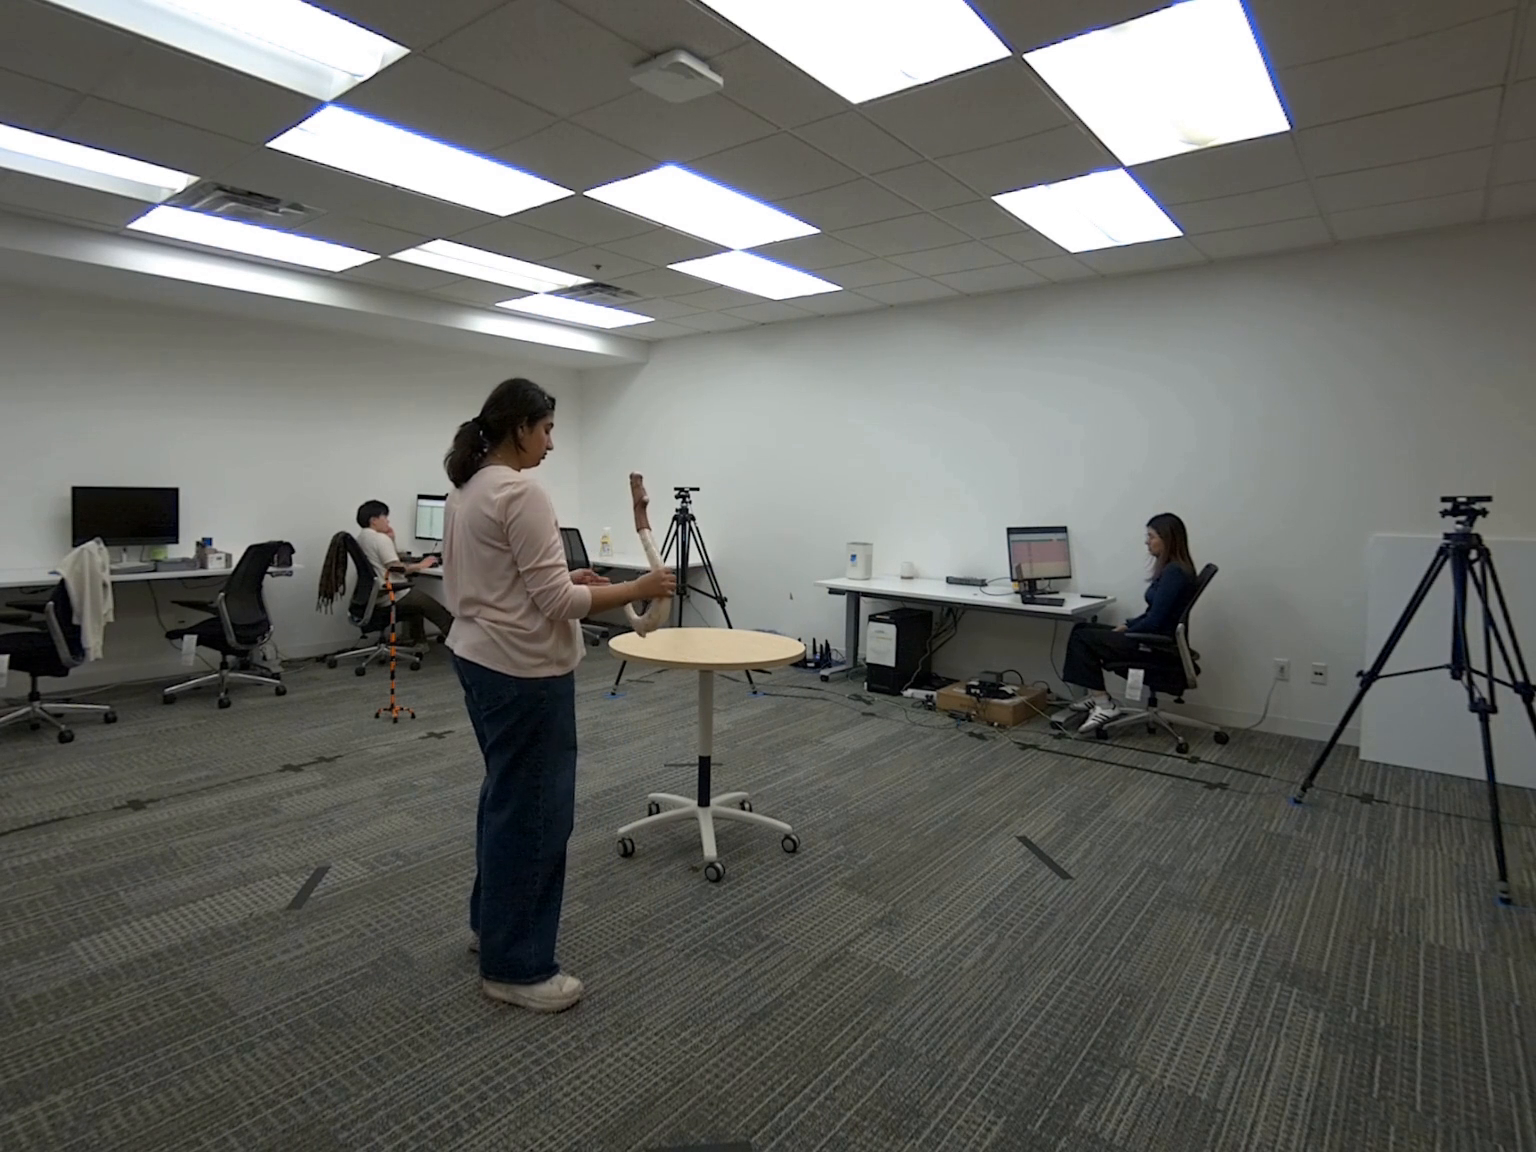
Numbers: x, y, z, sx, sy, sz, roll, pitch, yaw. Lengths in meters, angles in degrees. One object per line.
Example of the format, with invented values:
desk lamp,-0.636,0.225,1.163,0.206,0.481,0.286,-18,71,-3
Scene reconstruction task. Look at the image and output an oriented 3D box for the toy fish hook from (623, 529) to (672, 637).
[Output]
toy fish hook,-0.404,-0.069,2.564,0.046,0.519,0.227,15,-34,-43
